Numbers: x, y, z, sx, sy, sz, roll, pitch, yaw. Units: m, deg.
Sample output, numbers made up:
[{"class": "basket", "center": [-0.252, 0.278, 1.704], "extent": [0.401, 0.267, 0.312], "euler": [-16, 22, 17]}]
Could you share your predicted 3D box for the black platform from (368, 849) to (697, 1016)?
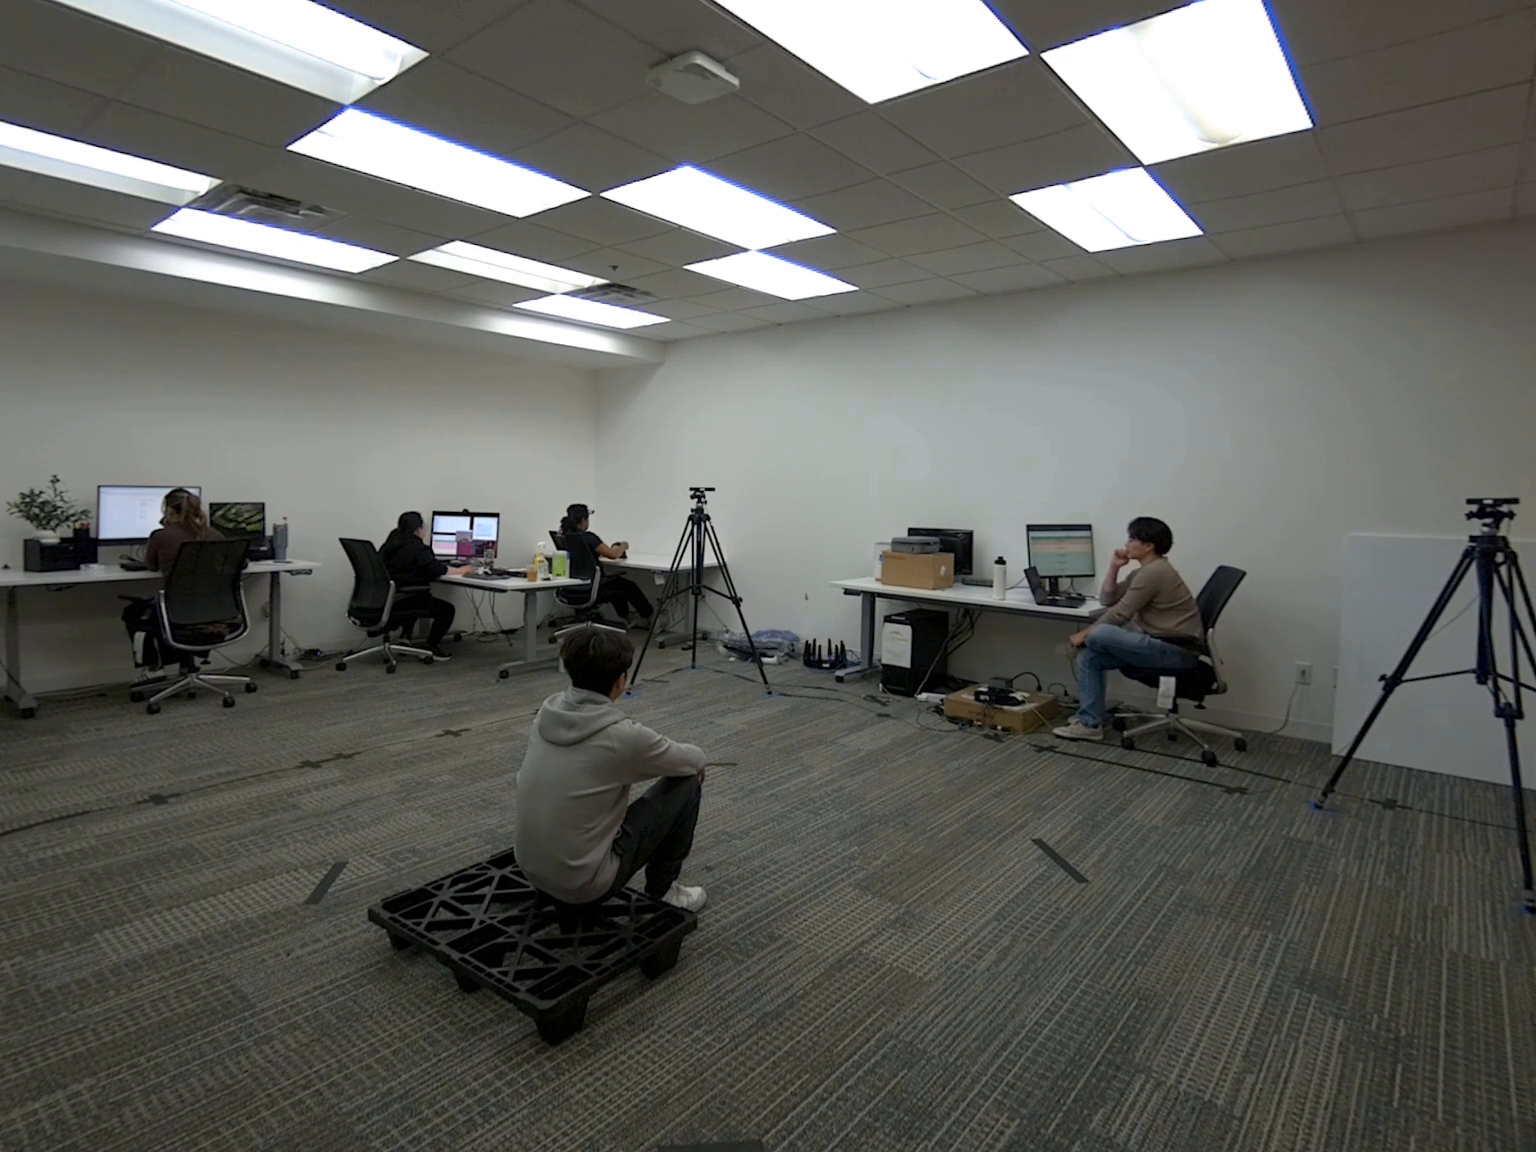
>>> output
[{"class": "black platform", "center": [-0.706, 1.051, 2.517], "extent": [0.832, 0.143, 0.588], "euler": [5, 6, 36]}]
